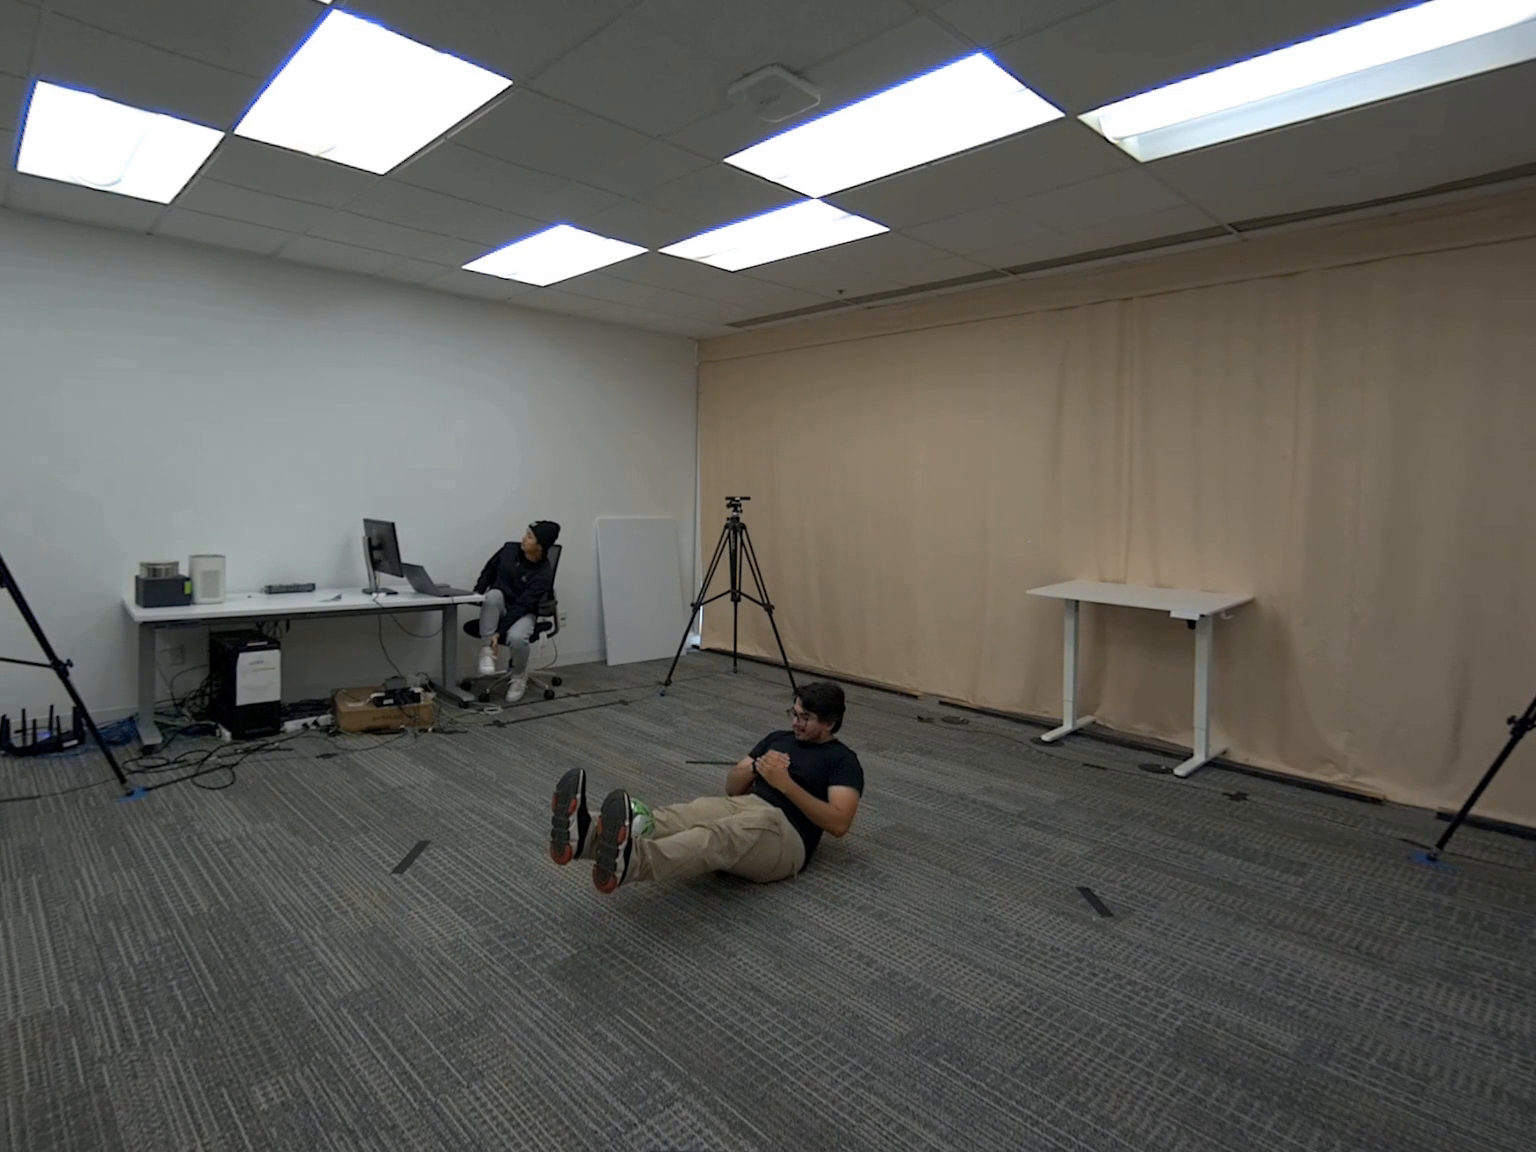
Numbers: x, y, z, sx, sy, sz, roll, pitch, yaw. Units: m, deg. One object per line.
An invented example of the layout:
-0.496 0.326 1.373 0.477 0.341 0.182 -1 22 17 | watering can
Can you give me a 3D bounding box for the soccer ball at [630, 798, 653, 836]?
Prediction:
-0.467 0.822 2.692 0.187 0.187 0.188 1 5 -1 | soccer ball
